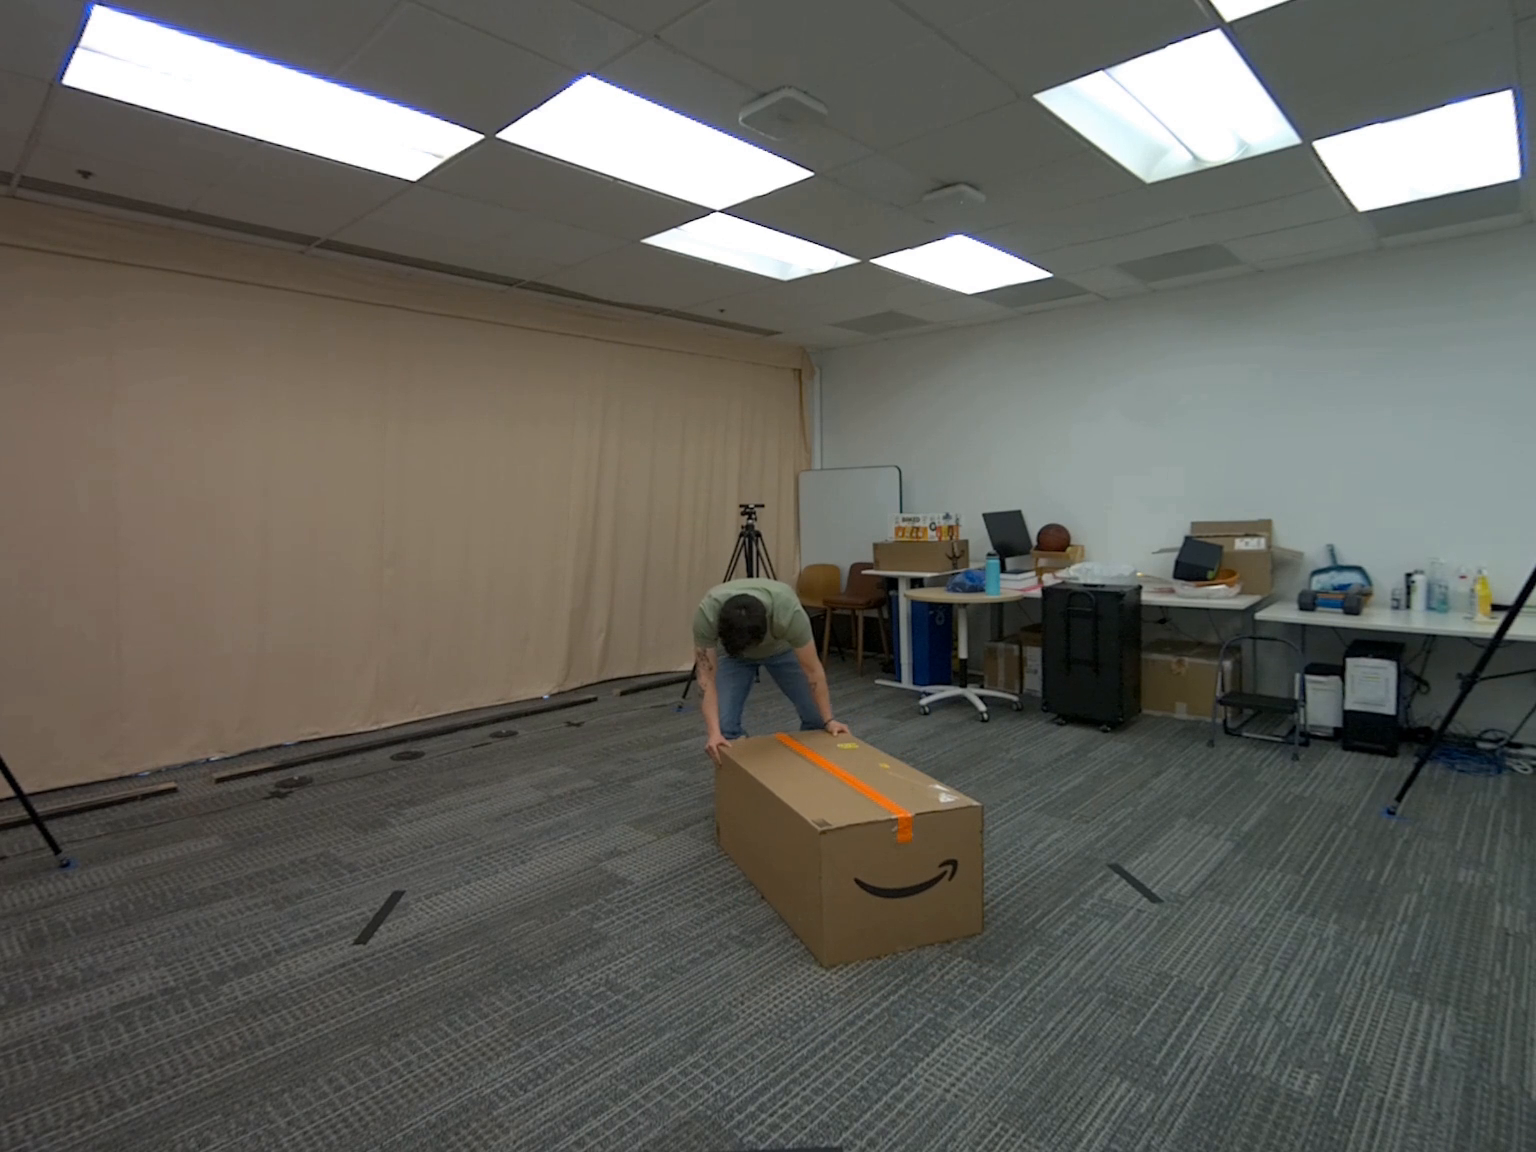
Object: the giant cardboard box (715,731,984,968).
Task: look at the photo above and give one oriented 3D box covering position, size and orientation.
[{"bbox_3d":[0.239,0.914,3.080,0.566,0.425,1.049,-2,5,-21],"label":"giant cardboard box"}]
